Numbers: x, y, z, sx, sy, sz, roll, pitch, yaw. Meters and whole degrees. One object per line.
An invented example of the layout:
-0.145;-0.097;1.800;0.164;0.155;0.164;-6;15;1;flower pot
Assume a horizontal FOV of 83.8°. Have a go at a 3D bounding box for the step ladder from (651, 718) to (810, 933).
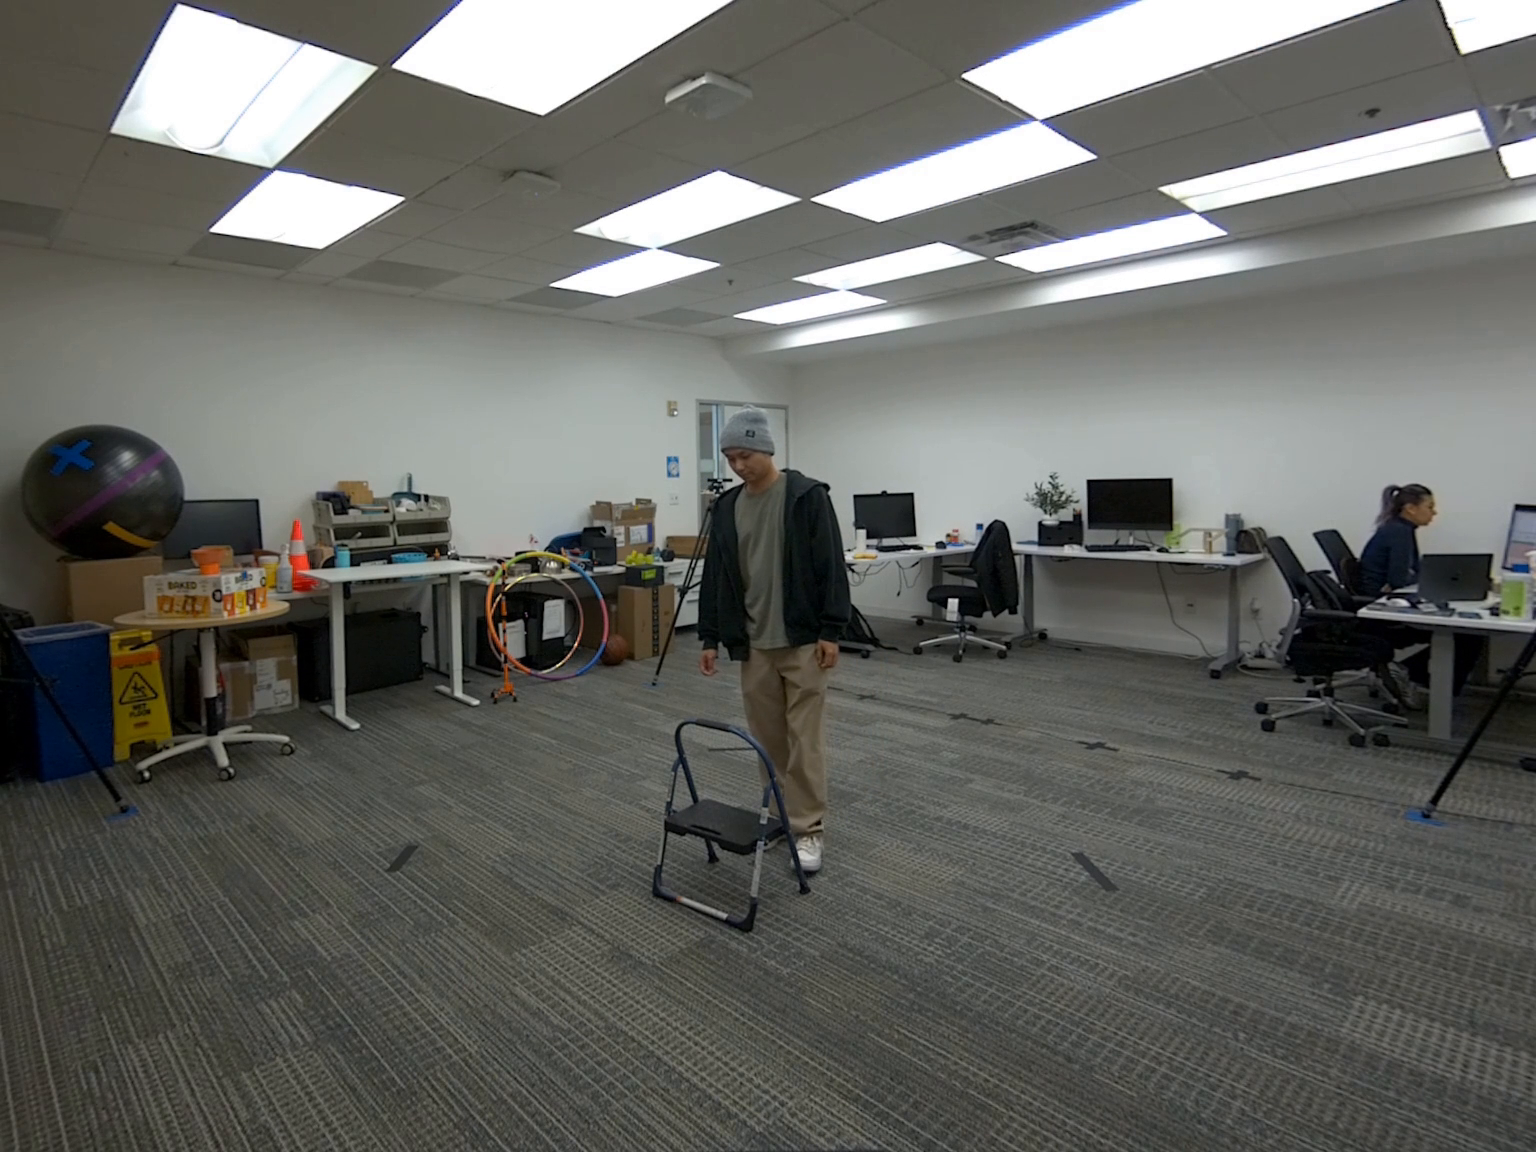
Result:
-0.131;0.771;2.867;0.443;0.604;0.340;2;5;37;step ladder
